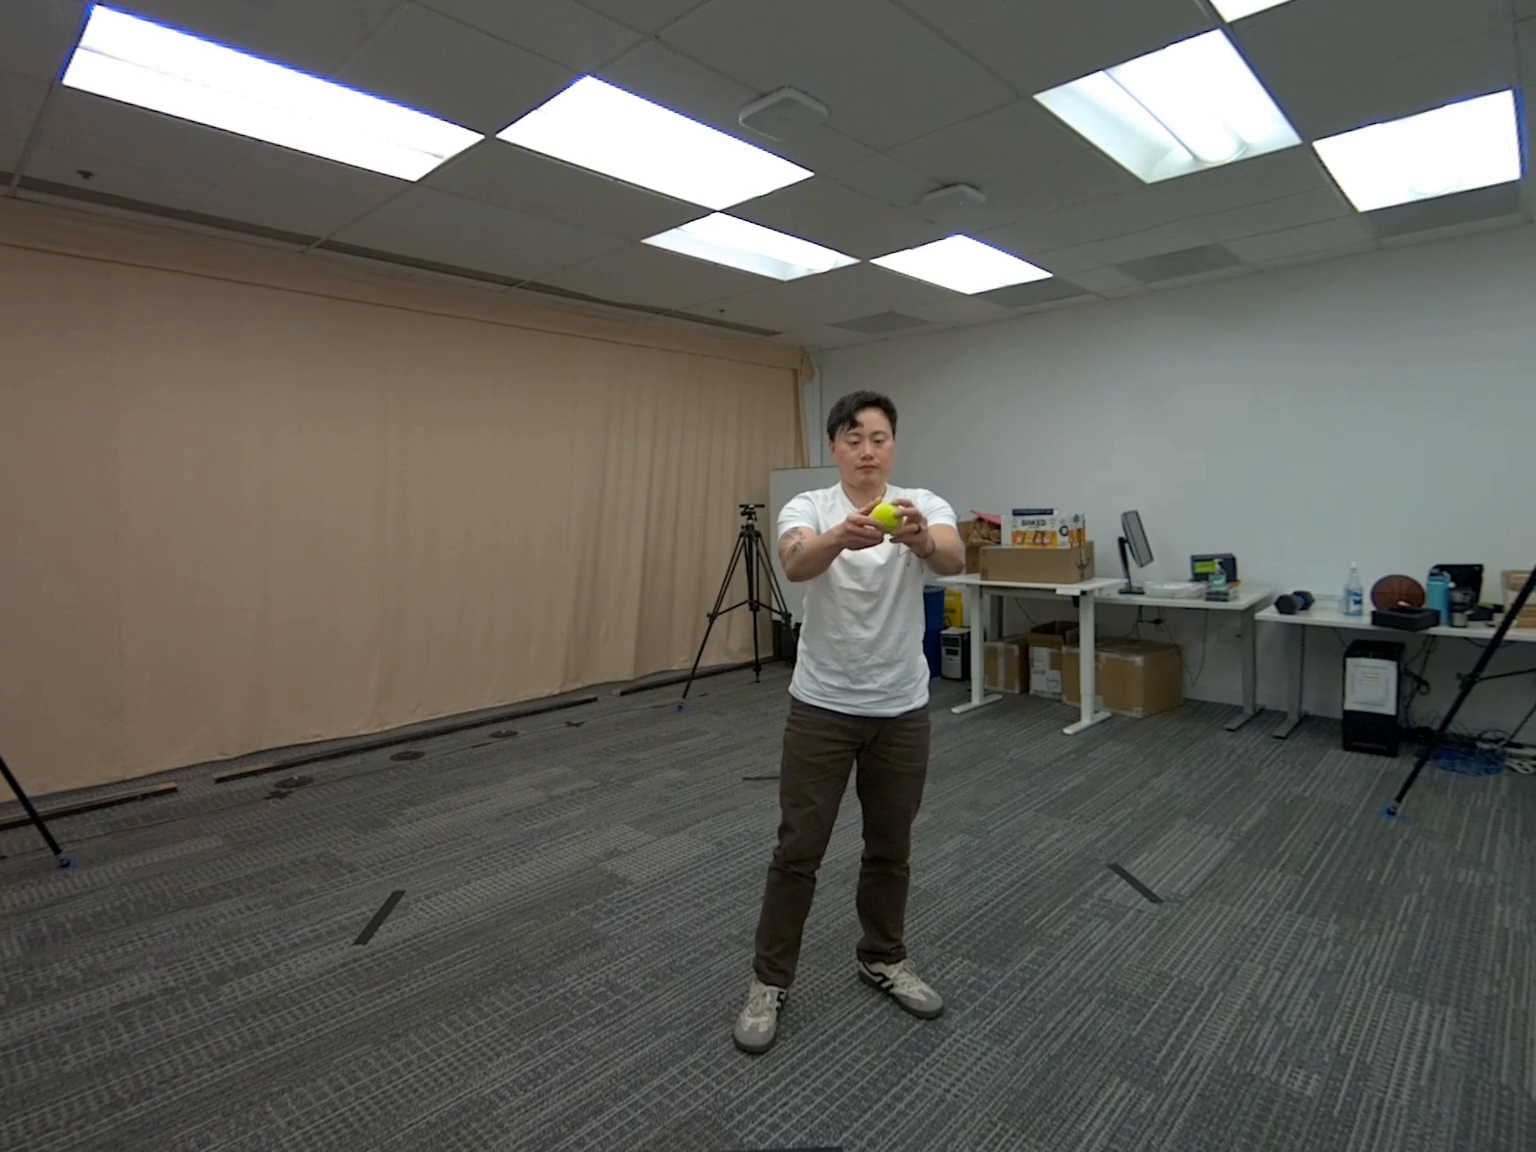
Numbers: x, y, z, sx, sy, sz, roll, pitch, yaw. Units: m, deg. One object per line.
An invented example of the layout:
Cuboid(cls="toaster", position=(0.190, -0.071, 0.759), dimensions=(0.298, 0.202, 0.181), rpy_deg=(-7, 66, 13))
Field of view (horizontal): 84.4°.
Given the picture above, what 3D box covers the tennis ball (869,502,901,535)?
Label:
Cuboid(cls="tennis ball", position=(0.253, -0.123, 1.788), dimensions=(0.066, 0.066, 0.067), rpy_deg=(-1, 4, -2))
